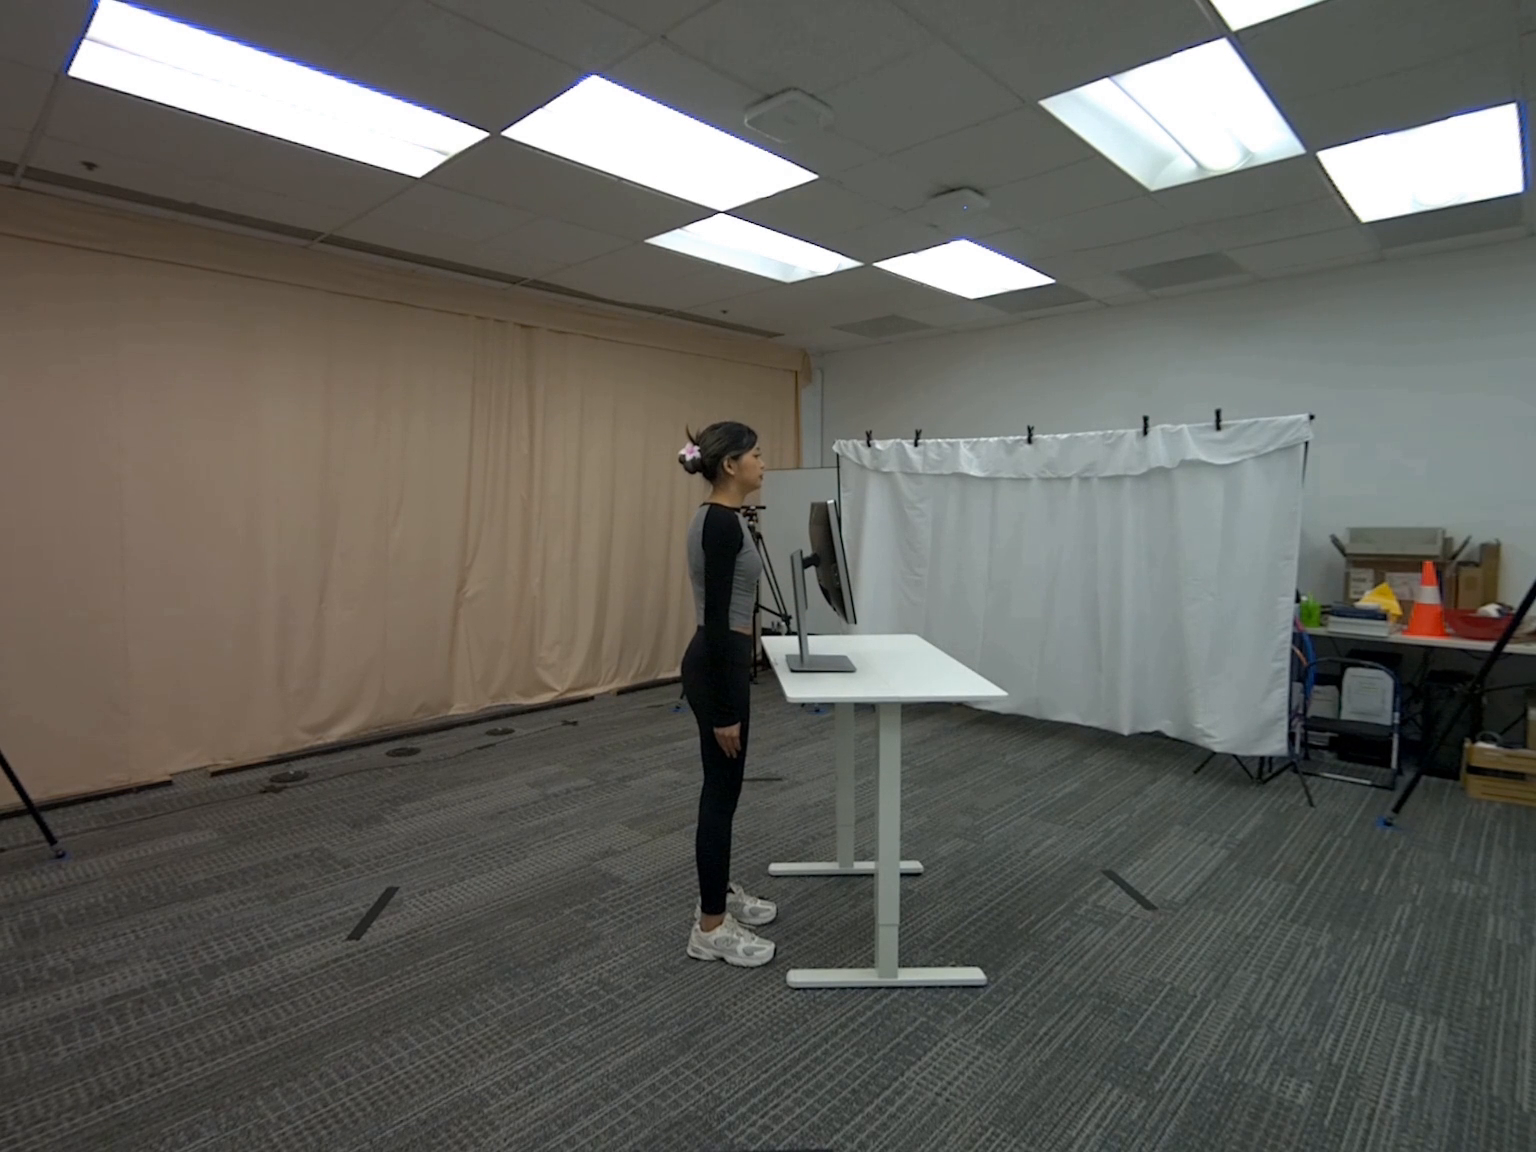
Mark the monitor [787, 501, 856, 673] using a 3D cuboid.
[{"bbox_3d":[0.168,0.031,2.688,0.187,0.521,0.542,2,5,-4],"label":"monitor"}]
